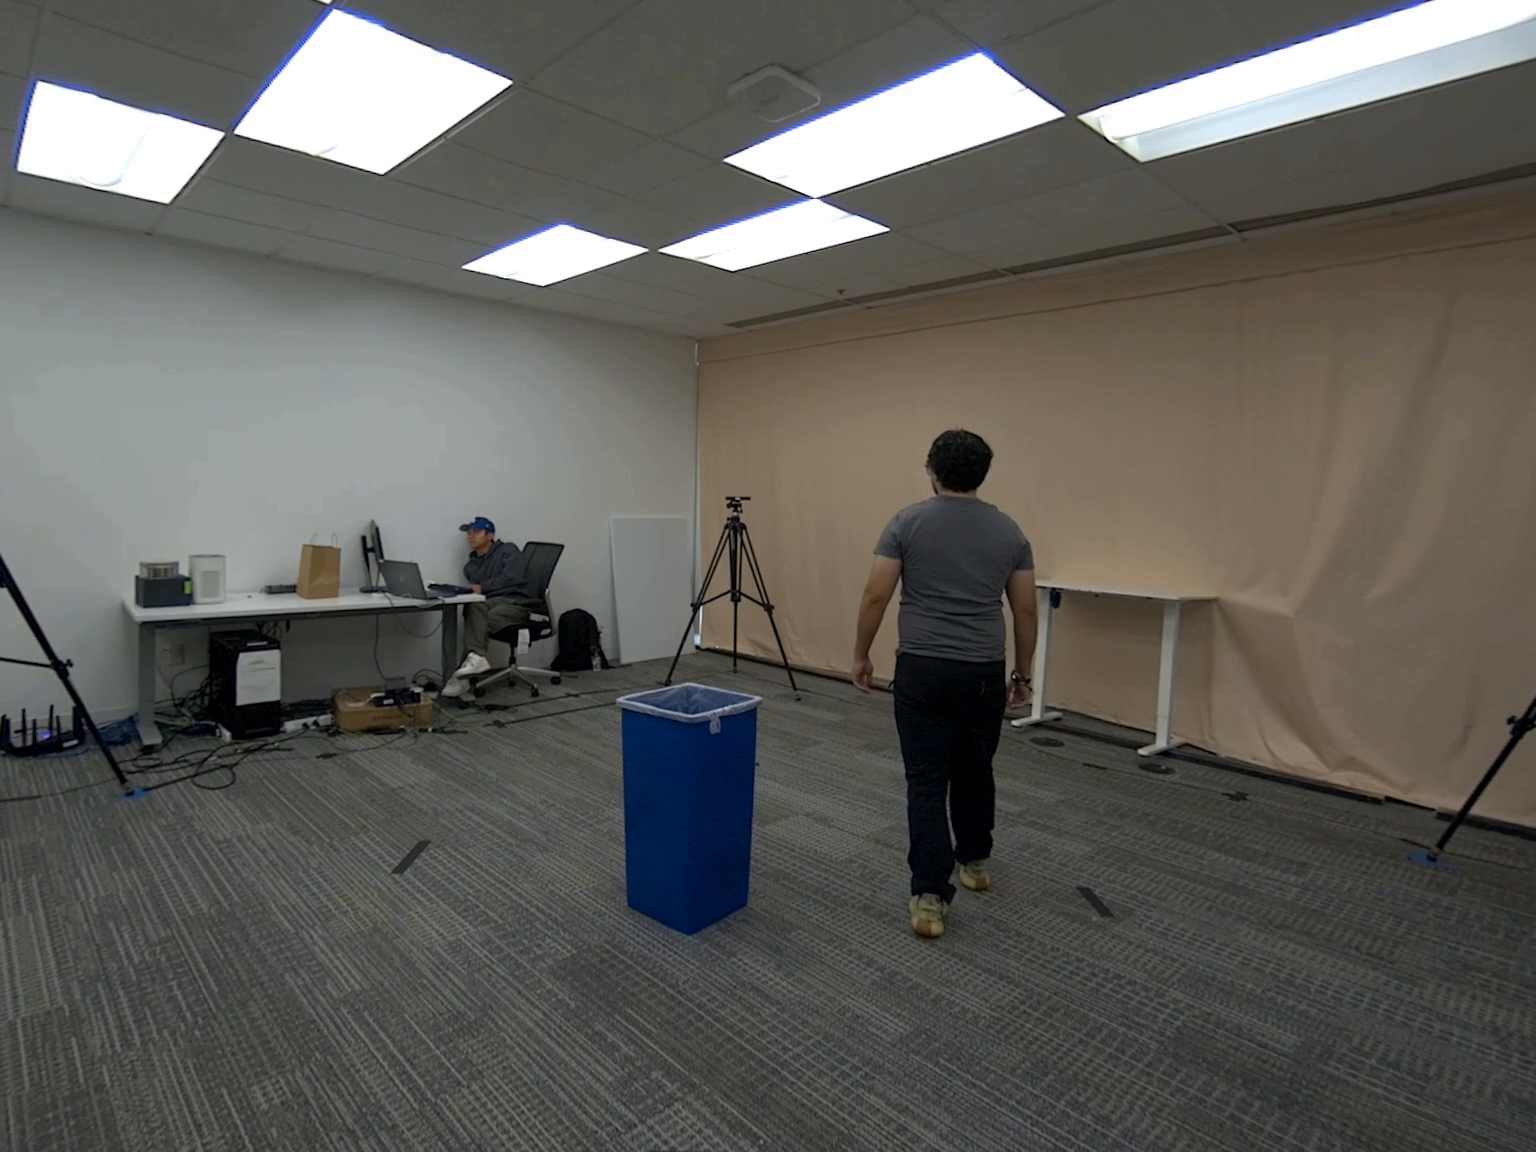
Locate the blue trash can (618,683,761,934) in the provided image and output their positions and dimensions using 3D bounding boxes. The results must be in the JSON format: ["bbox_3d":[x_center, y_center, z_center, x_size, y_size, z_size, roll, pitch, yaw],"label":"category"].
[{"bbox_3d":[-0.283,0.767,2.861,0.383,0.712,0.369,4,4,39],"label":"blue trash can"}]
